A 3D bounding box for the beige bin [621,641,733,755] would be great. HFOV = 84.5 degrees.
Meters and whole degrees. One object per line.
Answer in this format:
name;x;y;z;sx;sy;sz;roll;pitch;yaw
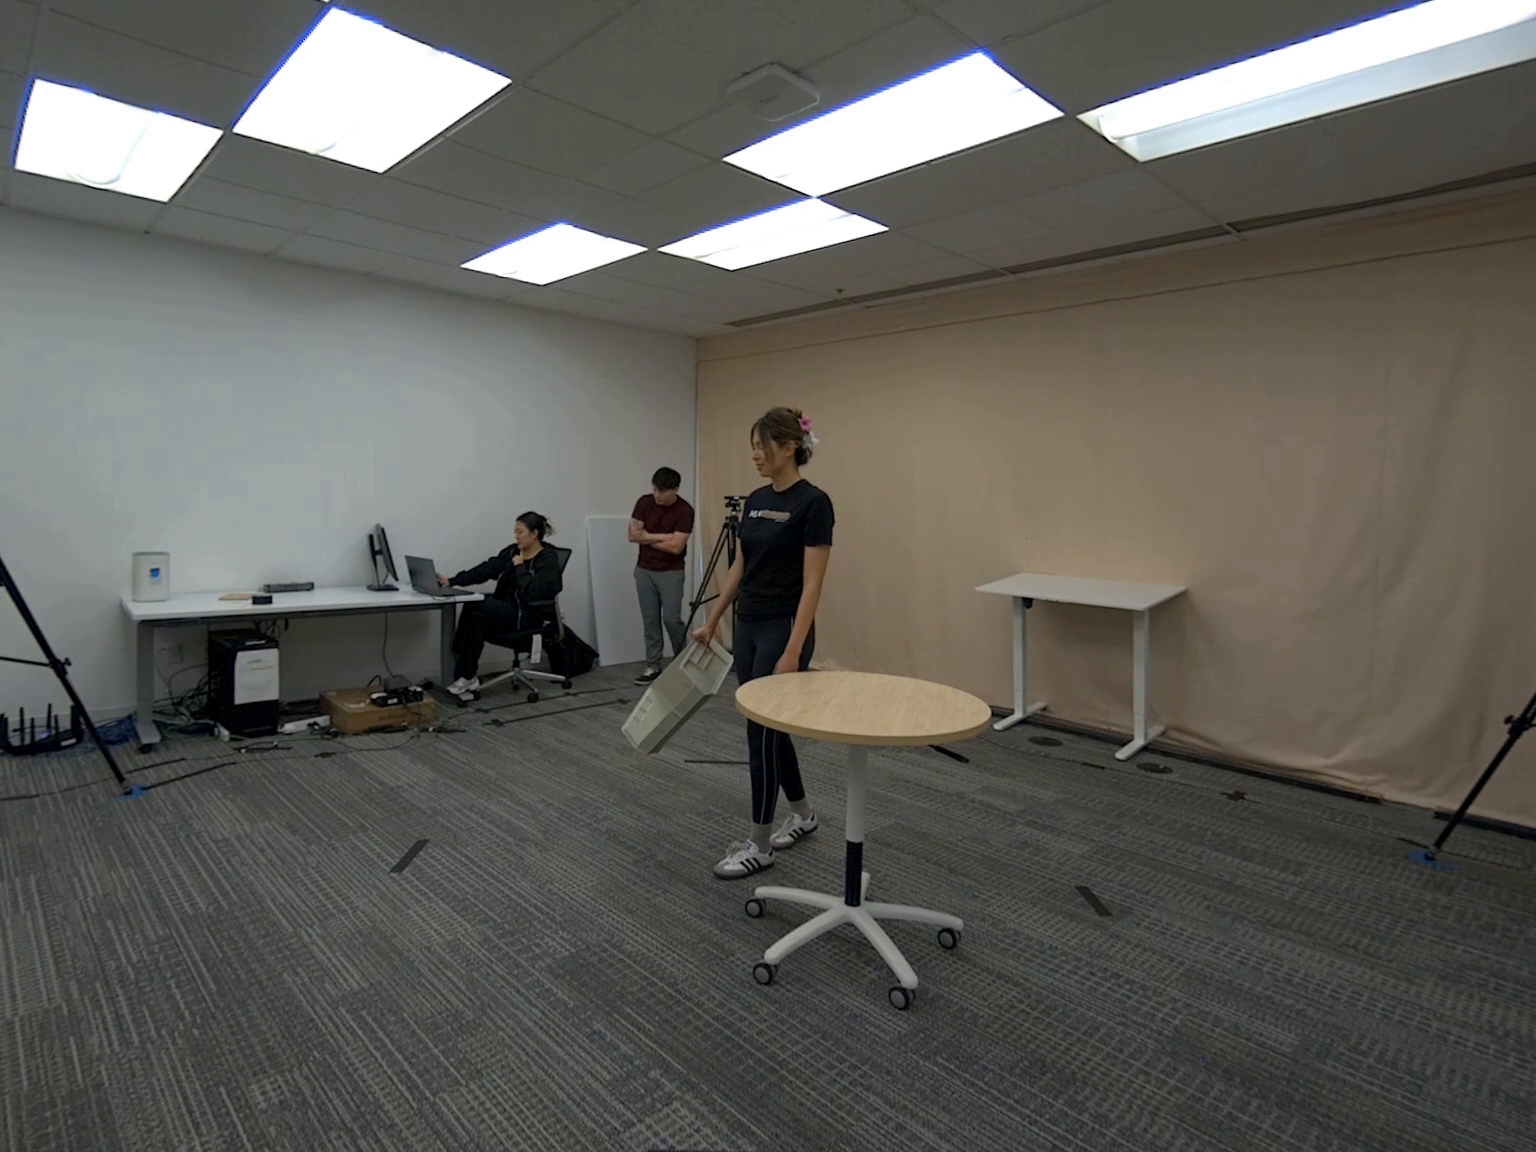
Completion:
beige bin;-0.374;0.478;3.437;0.188;0.422;0.378;42;25;-4
